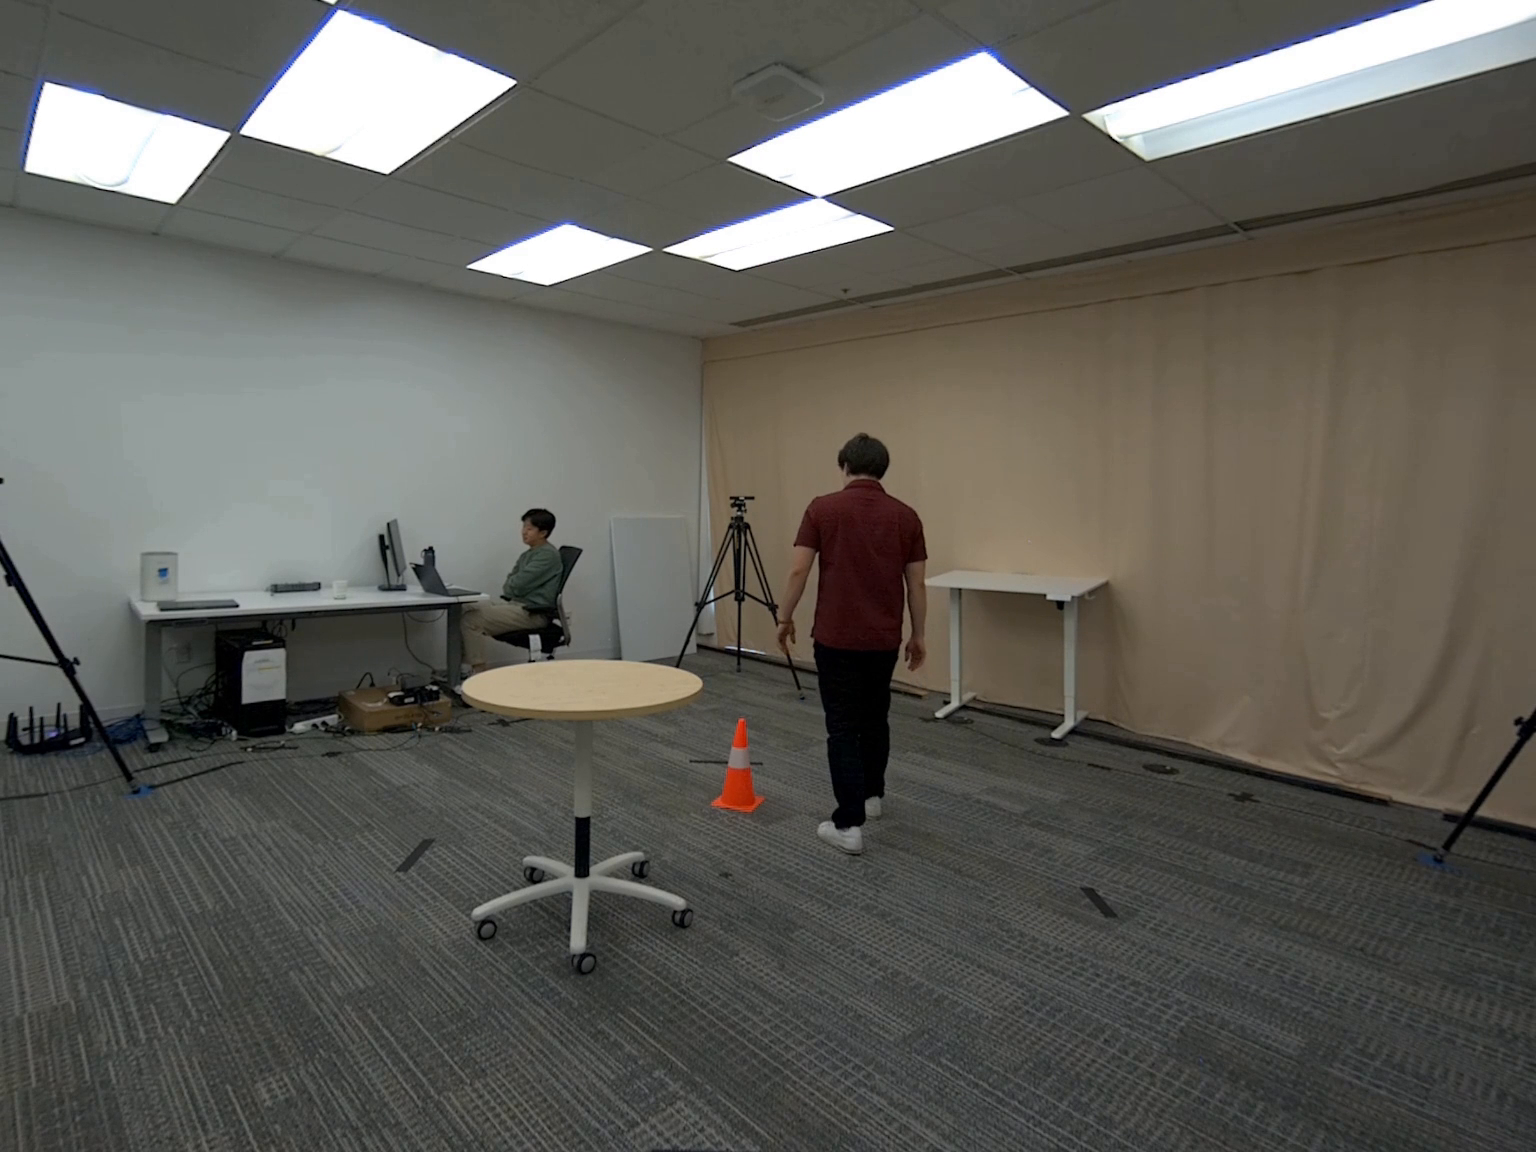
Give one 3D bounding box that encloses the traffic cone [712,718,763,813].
[{"bbox_3d":[-0.138,0.848,3.867,0.208,0.383,0.200,2,2,22],"label":"traffic cone"}]
